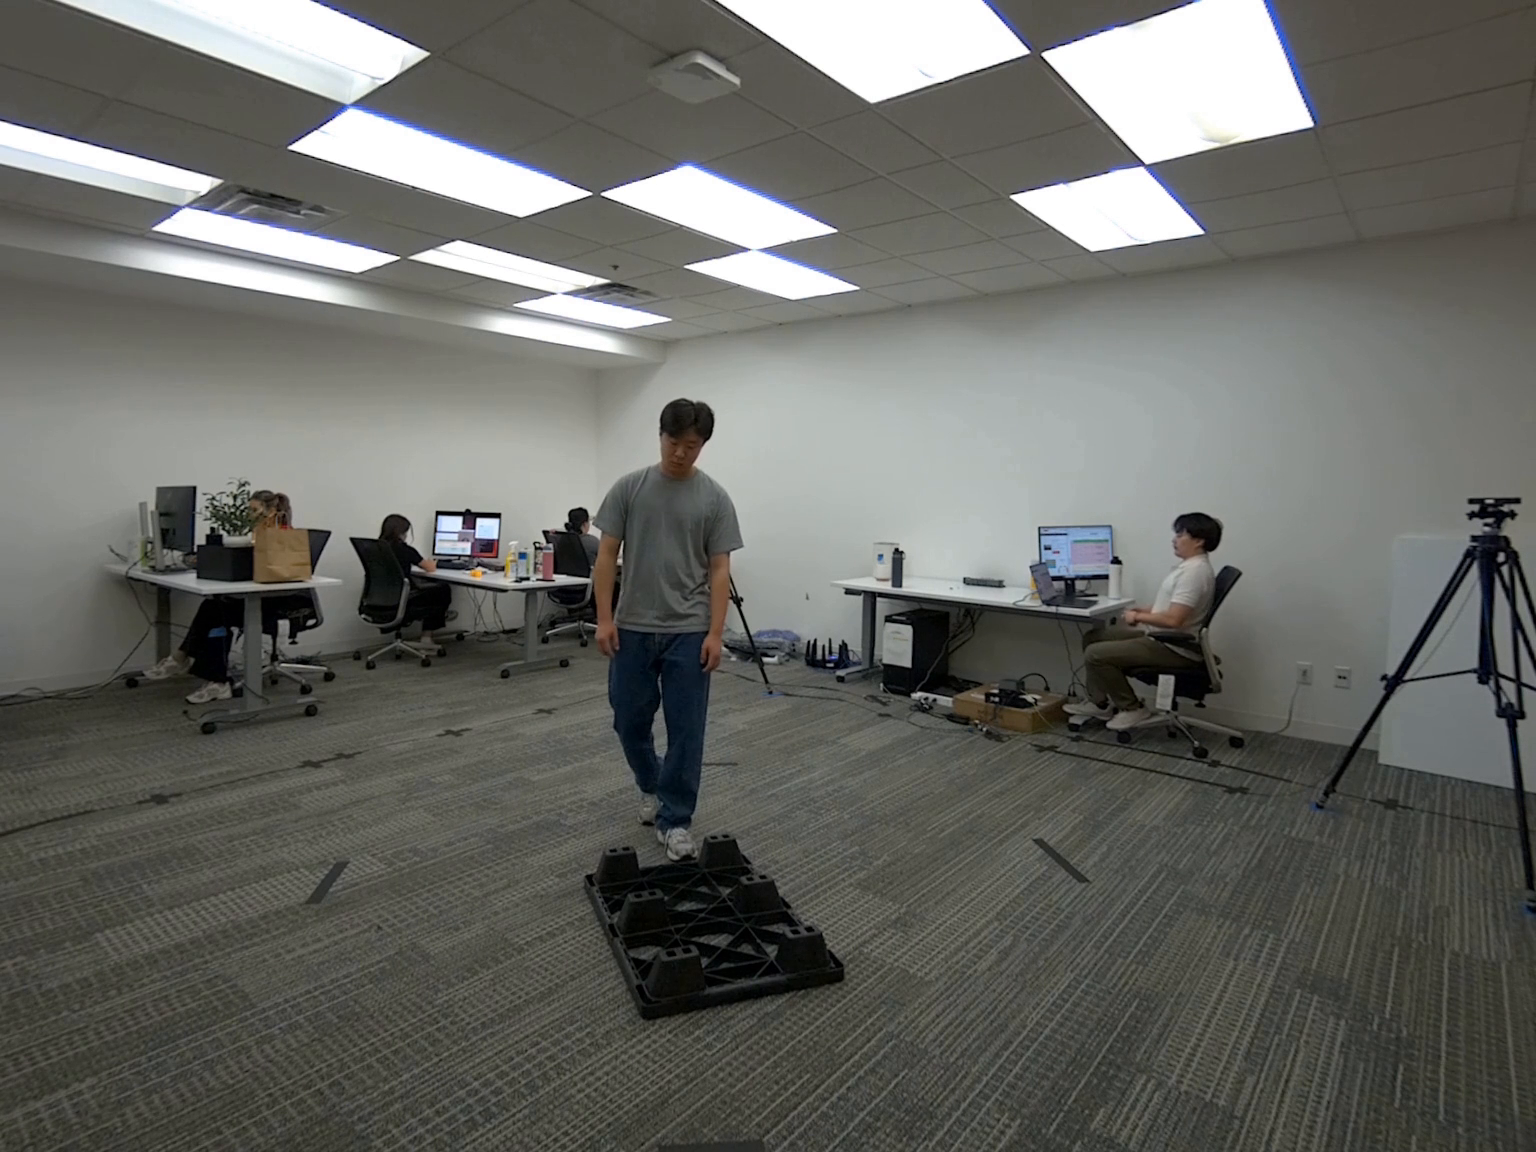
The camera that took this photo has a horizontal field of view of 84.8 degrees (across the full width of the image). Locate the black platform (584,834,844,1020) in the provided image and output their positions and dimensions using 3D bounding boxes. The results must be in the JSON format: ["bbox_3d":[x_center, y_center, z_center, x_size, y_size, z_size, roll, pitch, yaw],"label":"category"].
[{"bbox_3d":[-0.210,1.039,2.678,0.592,0.143,0.827,-2,7,-23],"label":"black platform"}]
